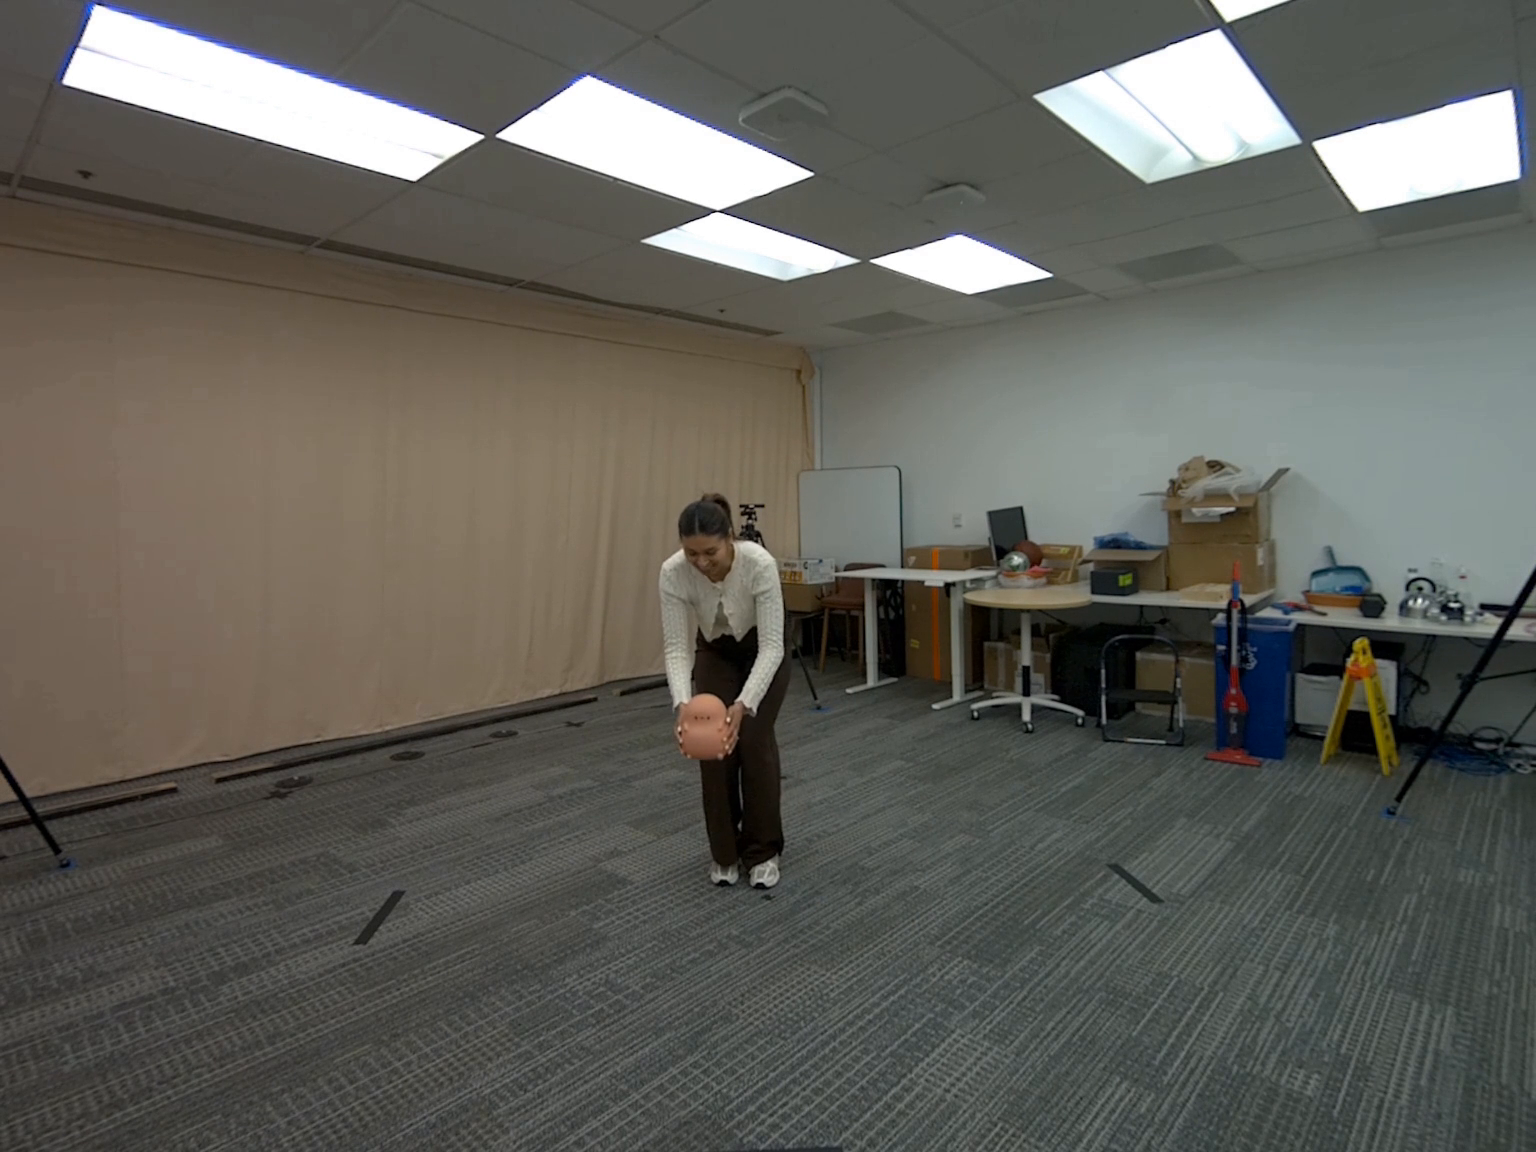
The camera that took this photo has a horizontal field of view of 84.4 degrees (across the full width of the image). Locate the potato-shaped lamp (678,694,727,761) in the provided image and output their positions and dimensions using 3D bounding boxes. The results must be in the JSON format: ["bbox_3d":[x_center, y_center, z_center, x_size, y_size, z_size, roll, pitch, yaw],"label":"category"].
[{"bbox_3d":[-0.189,0.484,2.738,0.167,0.197,0.169,3,6,13],"label":"potato-shaped lamp"}]
